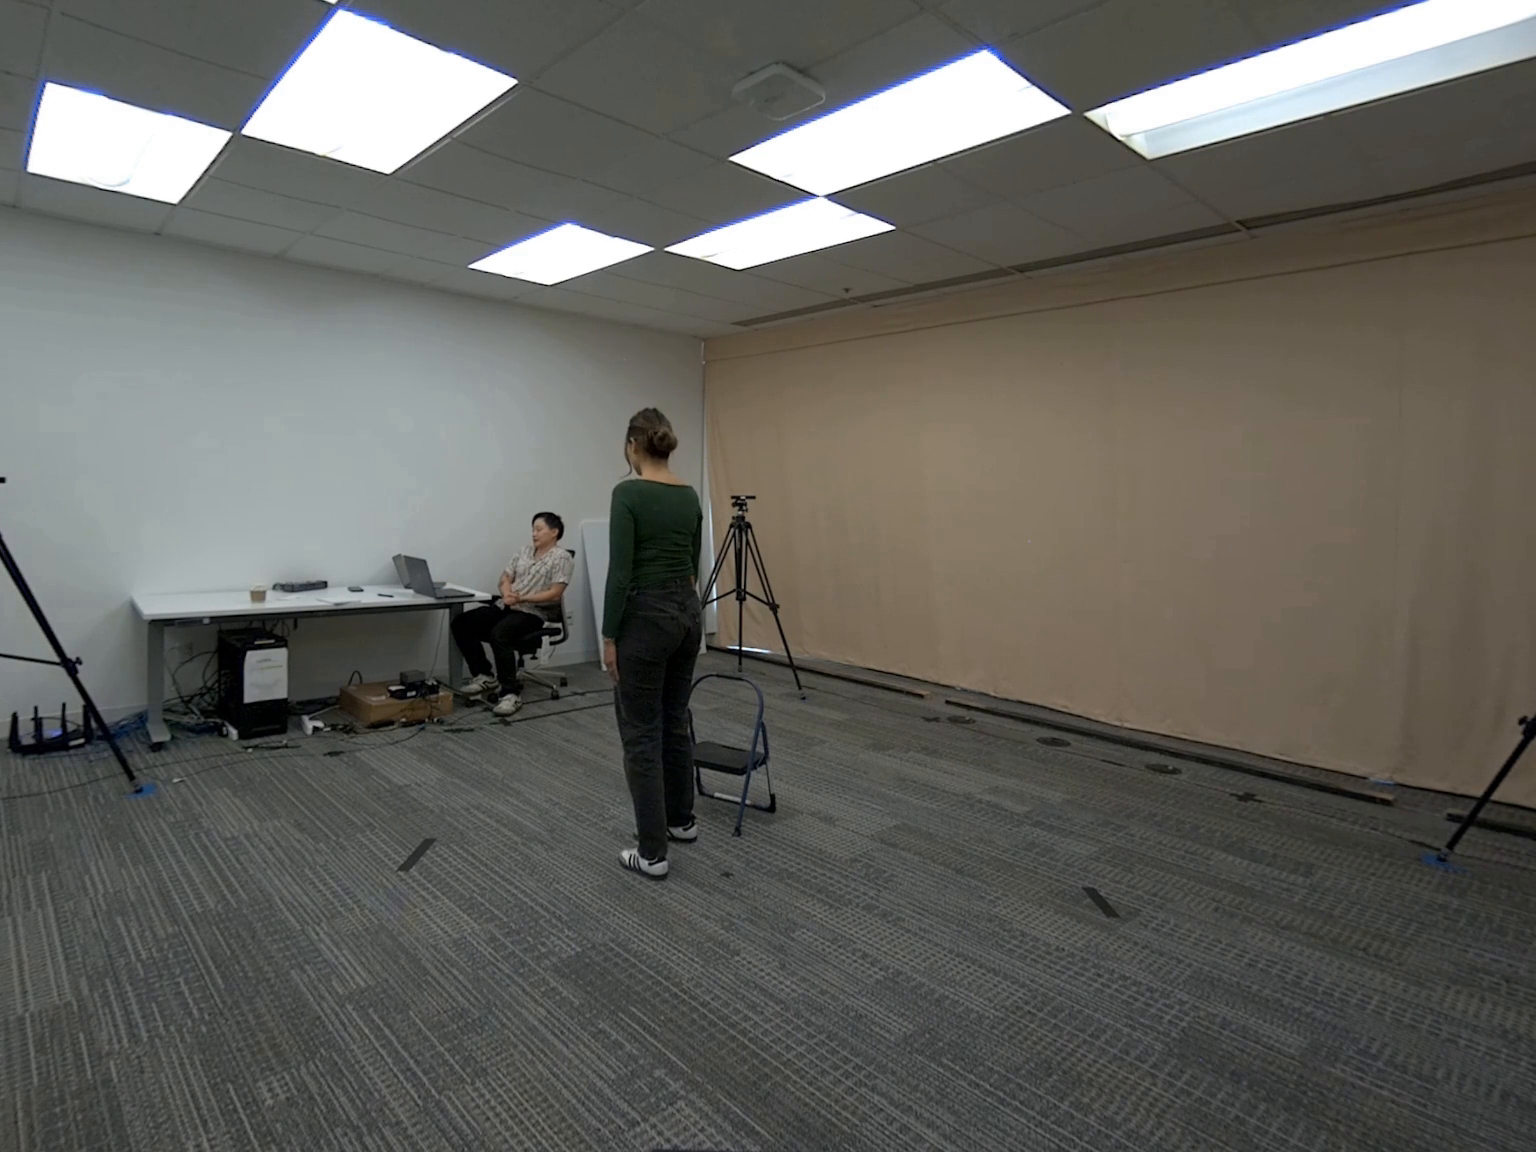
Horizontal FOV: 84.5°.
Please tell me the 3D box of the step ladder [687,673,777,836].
[{"bbox_3d":[-0.222,0.745,3.692,0.440,0.604,0.342,4,4,31],"label":"step ladder"}]
